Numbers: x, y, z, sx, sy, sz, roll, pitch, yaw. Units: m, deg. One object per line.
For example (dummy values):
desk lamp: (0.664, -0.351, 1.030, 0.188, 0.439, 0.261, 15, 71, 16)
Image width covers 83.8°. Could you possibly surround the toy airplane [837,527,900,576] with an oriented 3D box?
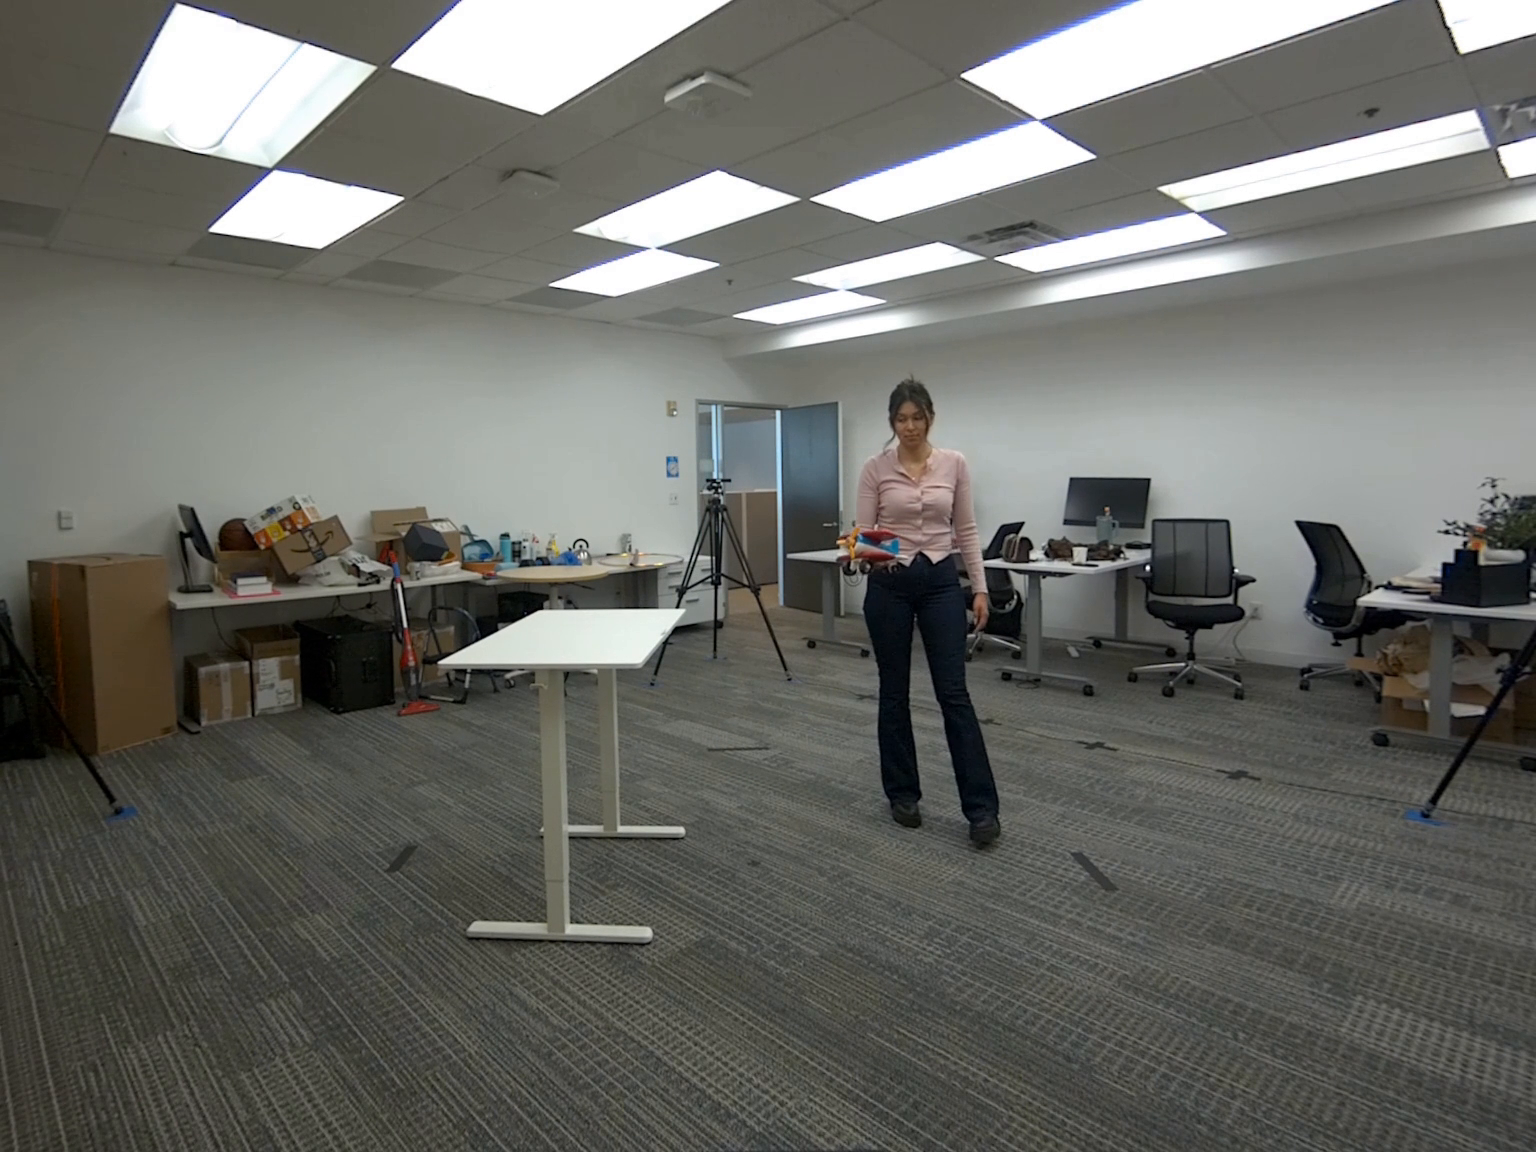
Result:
toy airplane: (0.364, -0.080, 3.098, 0.256, 0.157, 0.253, -6, -4, 22)
